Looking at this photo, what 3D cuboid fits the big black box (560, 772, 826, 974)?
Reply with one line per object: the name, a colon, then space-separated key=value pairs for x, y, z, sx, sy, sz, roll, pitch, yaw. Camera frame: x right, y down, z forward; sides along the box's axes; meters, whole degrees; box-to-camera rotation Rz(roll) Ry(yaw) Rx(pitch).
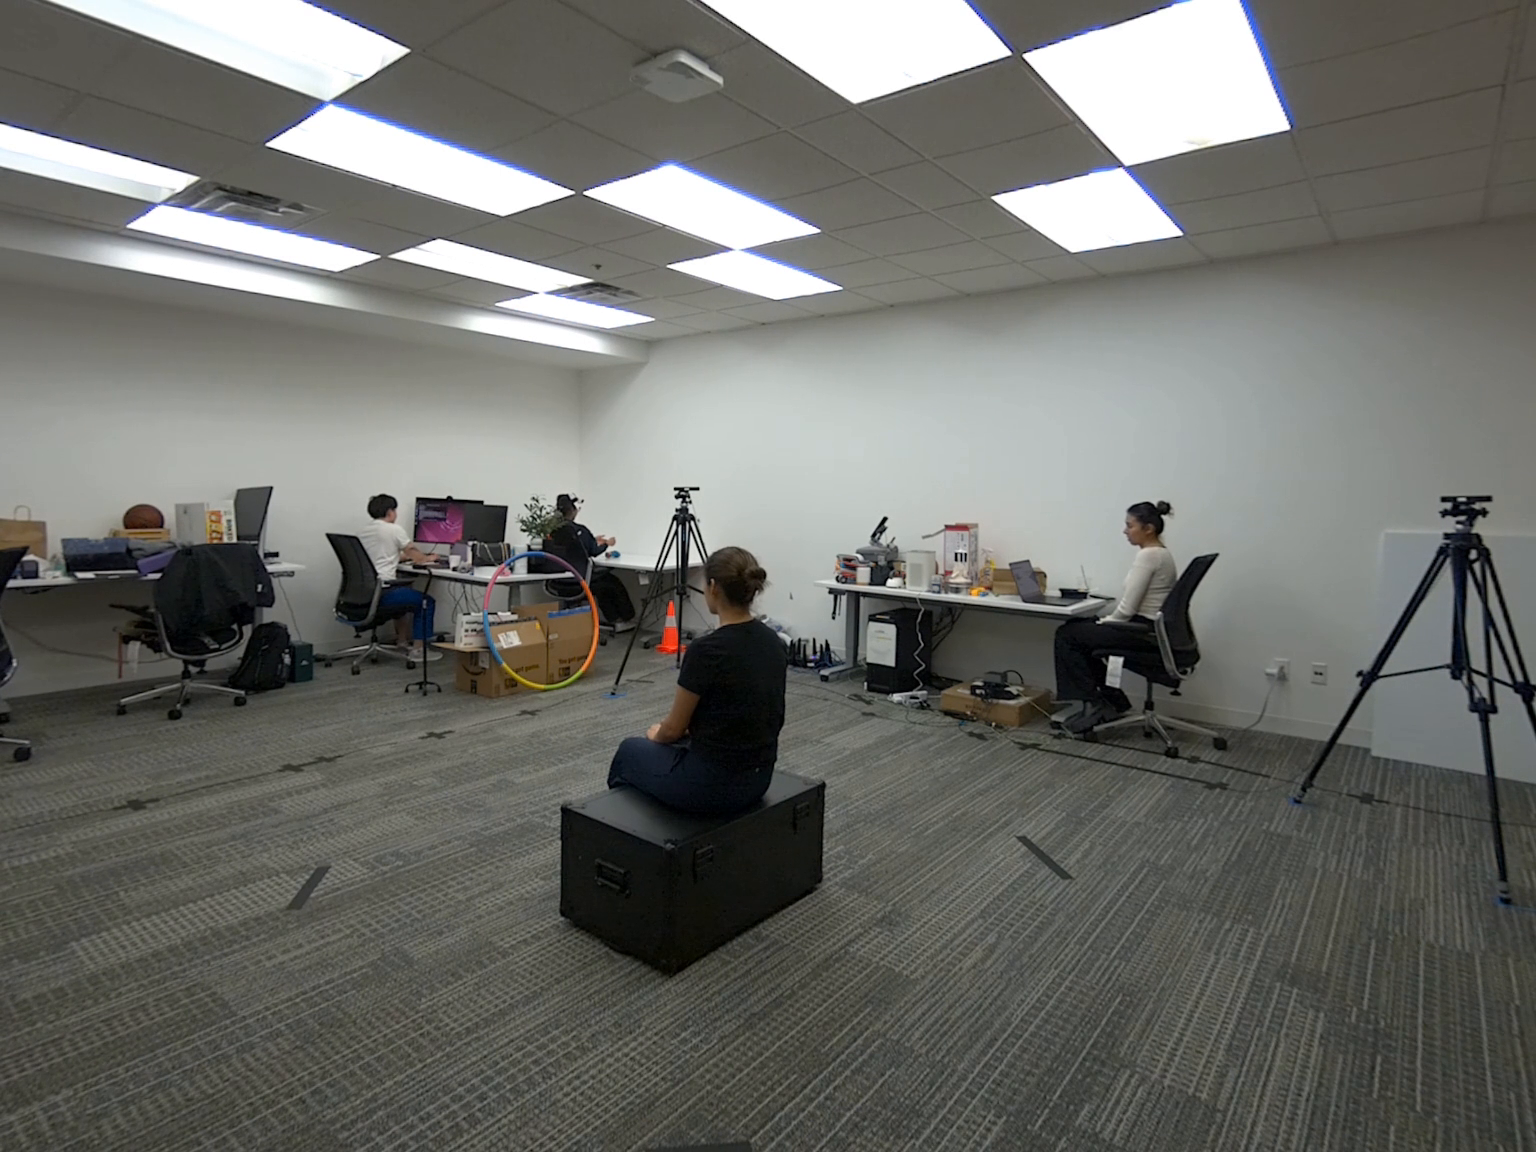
big black box: x=-0.200 y=0.903 z=2.863 sx=0.539 sy=0.394 sz=0.837 roll=5 pitch=7 yaw=39
